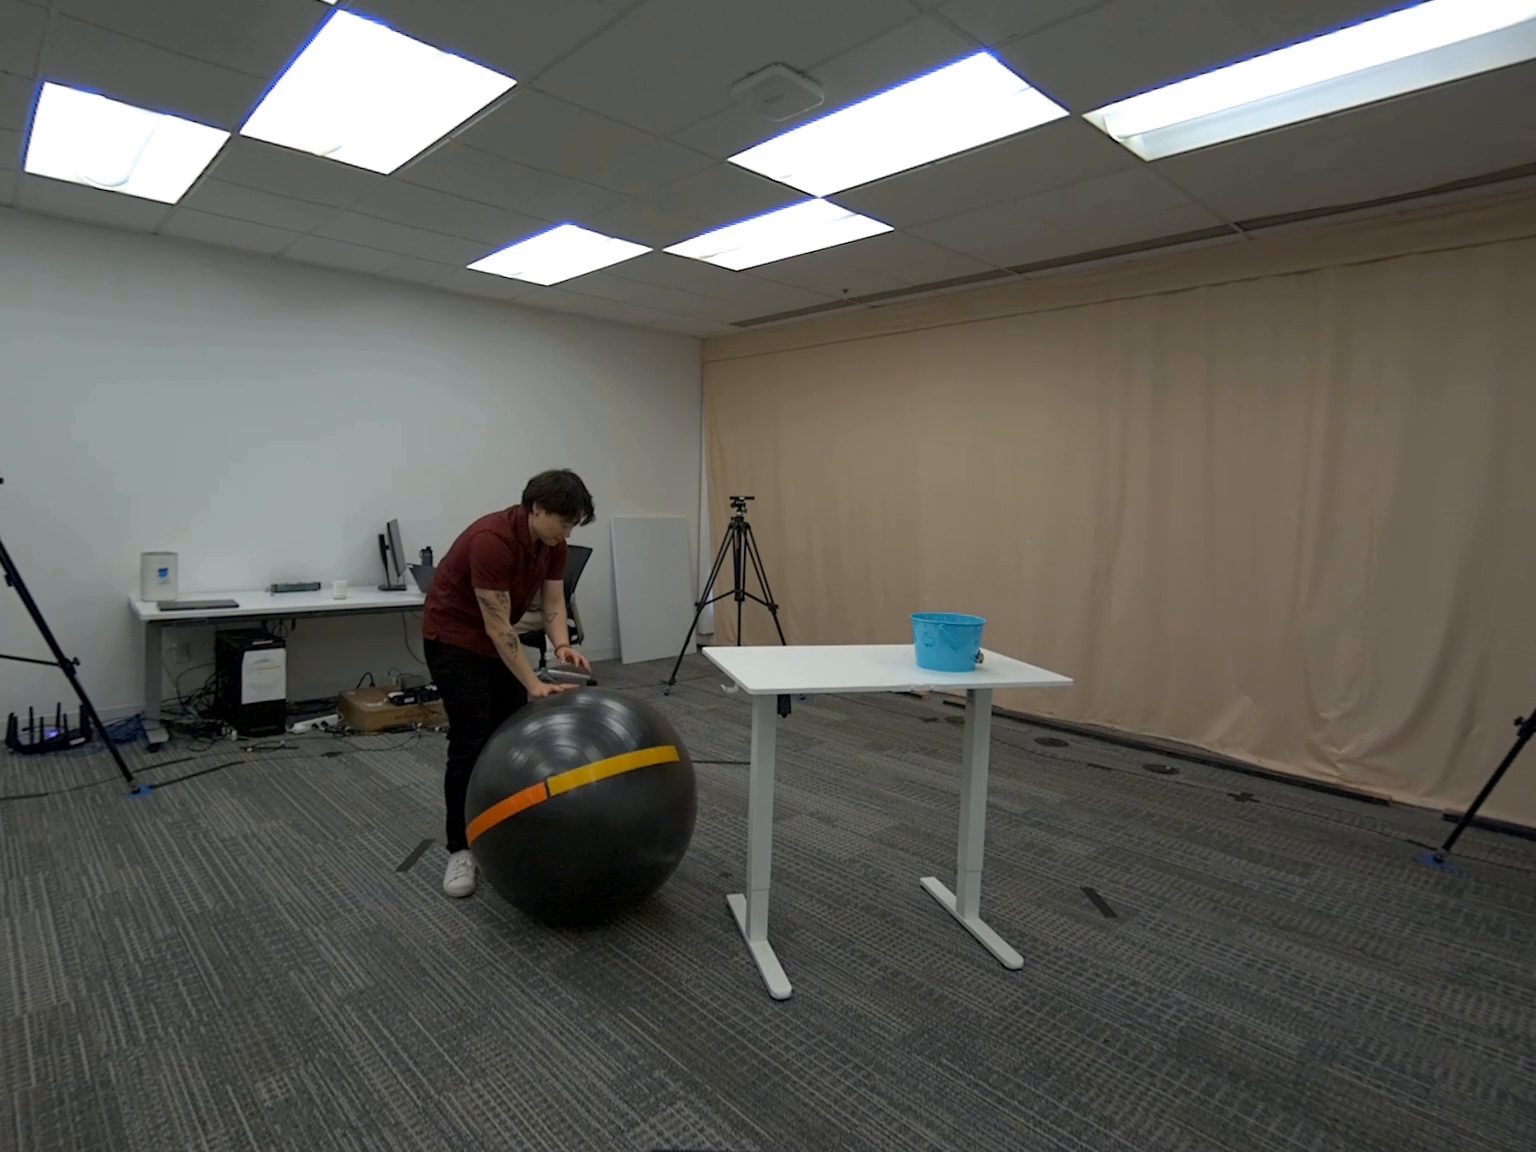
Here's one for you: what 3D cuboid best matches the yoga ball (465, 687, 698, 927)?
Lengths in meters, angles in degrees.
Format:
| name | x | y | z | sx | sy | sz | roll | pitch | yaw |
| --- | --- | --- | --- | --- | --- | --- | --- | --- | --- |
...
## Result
| name | x | y | z | sx | sy | sz | roll | pitch | yaw |
| --- | --- | --- | --- | --- | --- | --- | --- | --- | --- |
| yoga ball | -0.626 | 0.761 | 2.818 | 0.757 | 0.756 | 0.760 | 1 | 4 | -1 |
